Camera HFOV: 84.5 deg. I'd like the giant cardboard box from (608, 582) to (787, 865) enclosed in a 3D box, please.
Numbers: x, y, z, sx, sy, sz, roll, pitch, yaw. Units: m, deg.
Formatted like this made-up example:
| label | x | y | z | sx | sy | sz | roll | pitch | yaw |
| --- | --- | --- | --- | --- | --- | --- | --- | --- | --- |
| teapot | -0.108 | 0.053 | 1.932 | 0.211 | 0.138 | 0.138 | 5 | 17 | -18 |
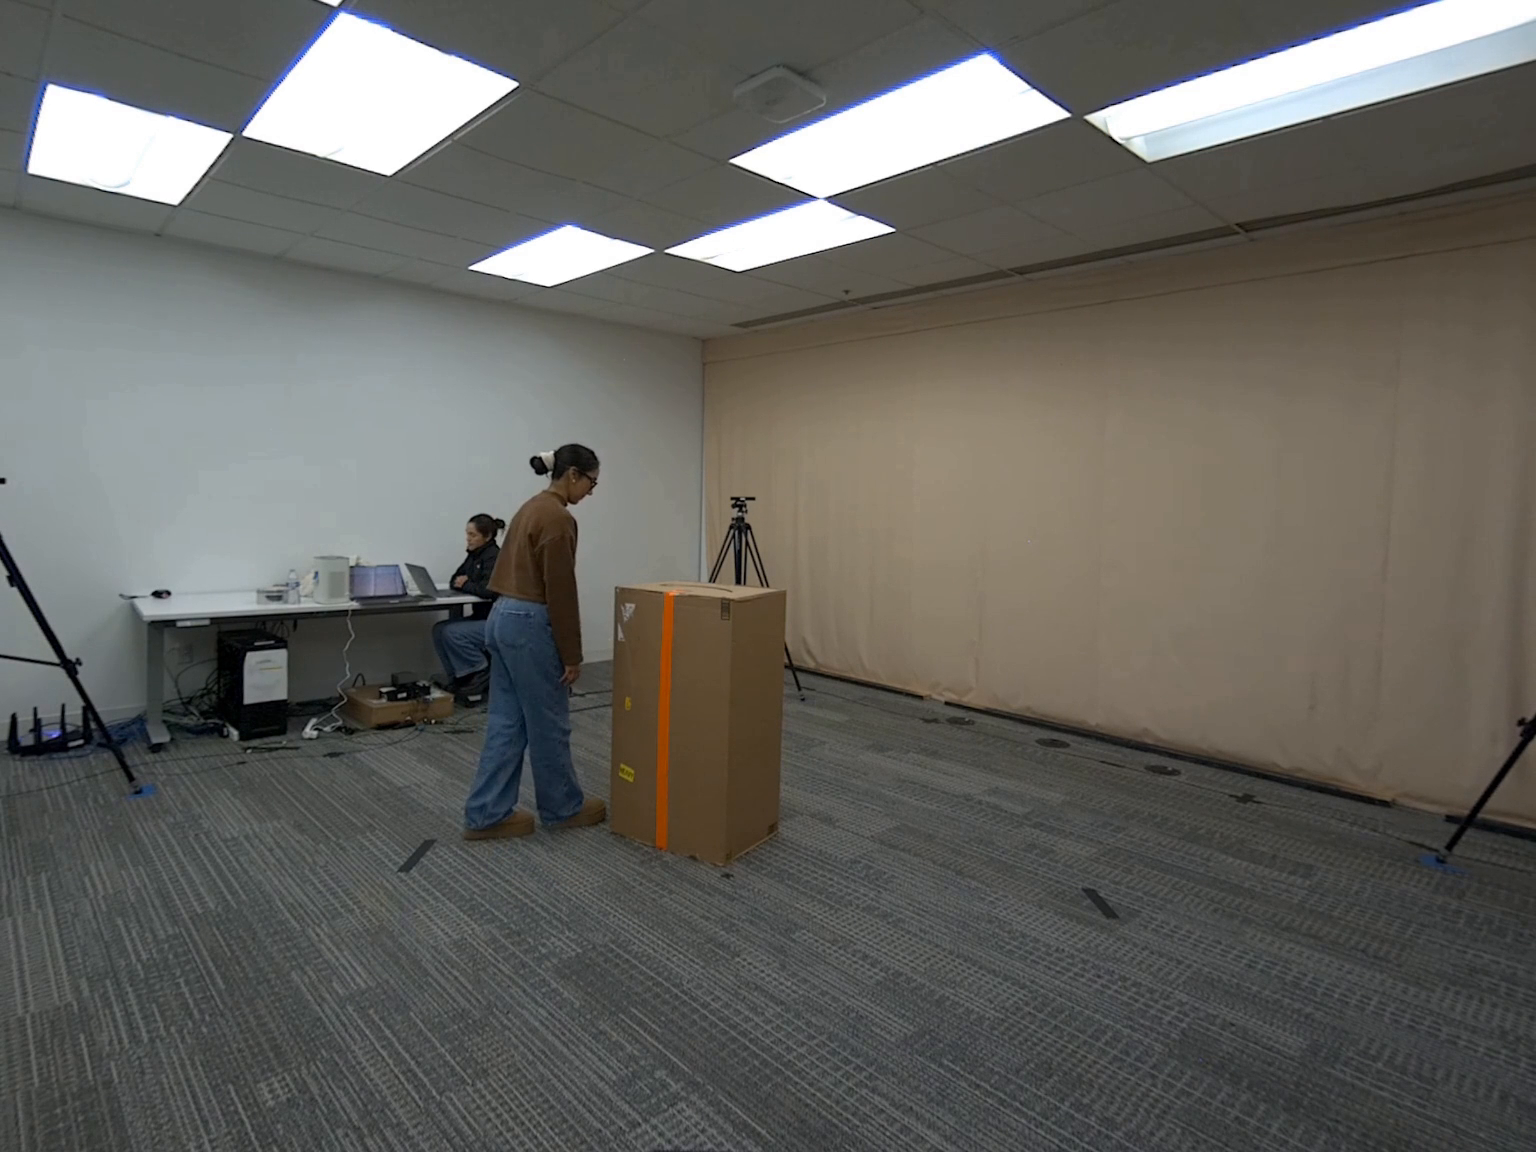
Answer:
| label | x | y | z | sx | sy | sz | roll | pitch | yaw |
| --- | --- | --- | --- | --- | --- | --- | --- | --- | --- |
| giant cardboard box | -0.296 | 0.563 | 3.478 | 0.591 | 1.023 | 0.417 | 4 | 4 | 32 |
